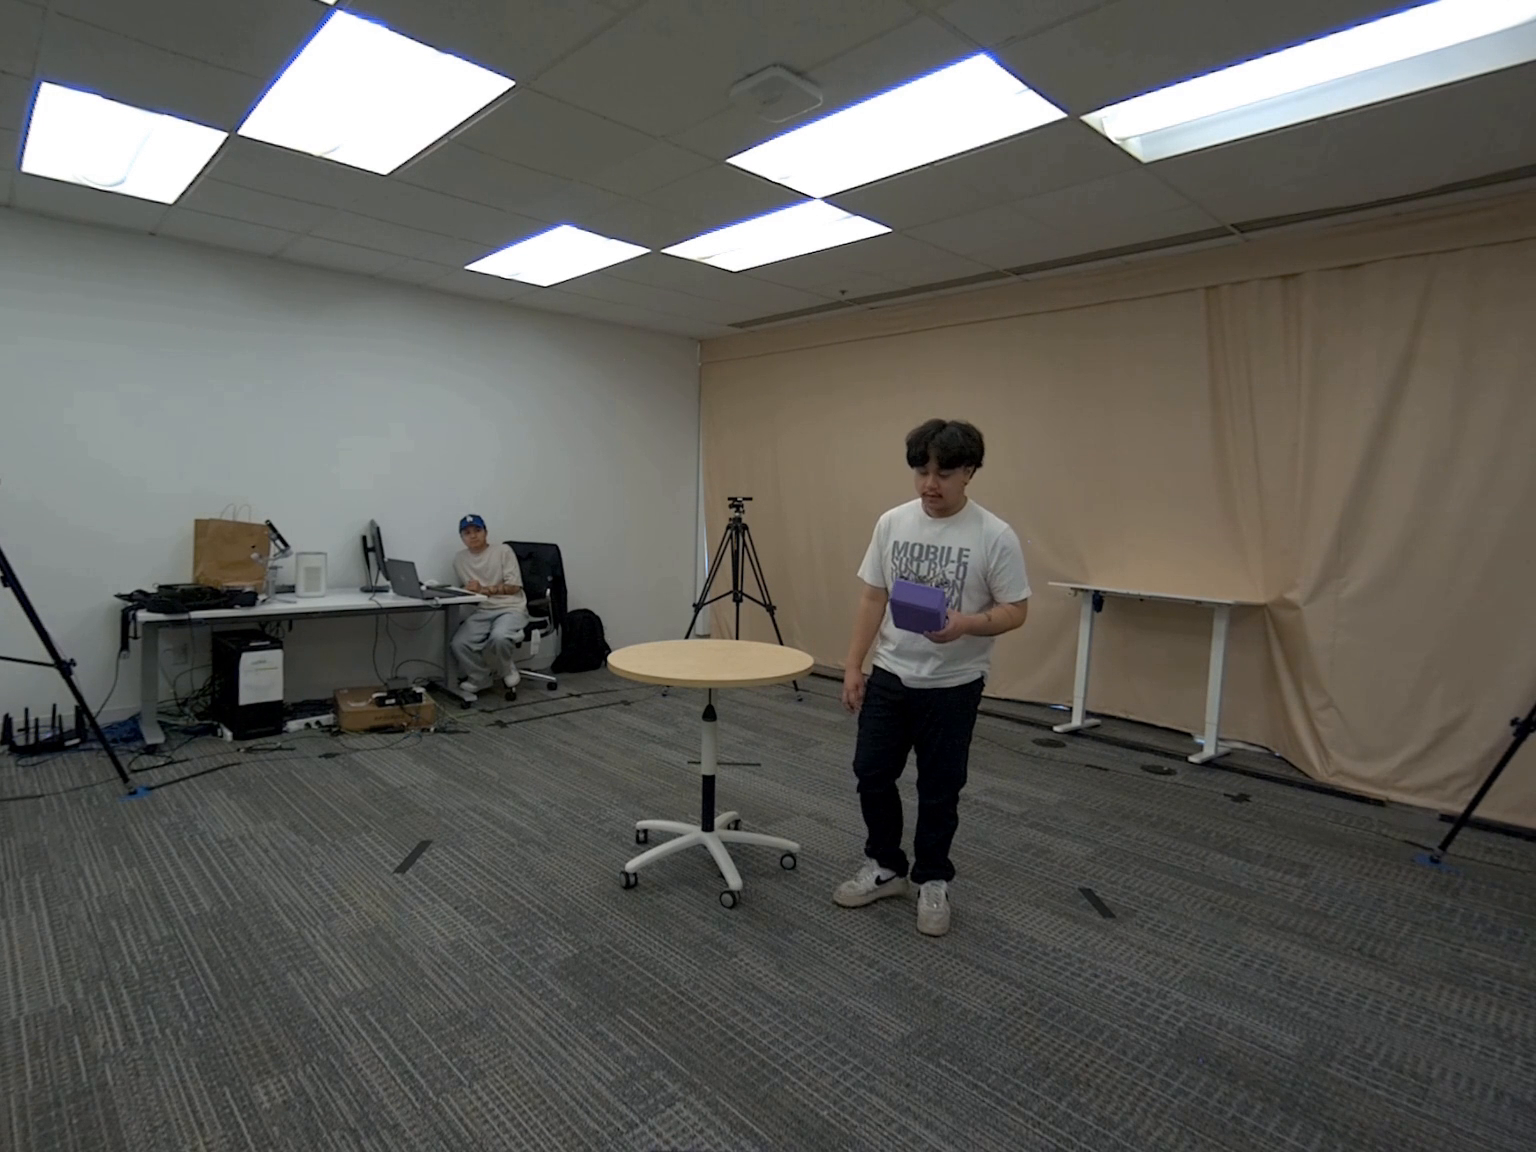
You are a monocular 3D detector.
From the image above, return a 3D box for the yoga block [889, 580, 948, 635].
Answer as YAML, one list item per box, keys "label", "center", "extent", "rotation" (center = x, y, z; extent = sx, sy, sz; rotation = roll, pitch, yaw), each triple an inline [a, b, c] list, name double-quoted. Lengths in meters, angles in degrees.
- label: "yoga block"
  center: [0.435, 0.099, 2.459]
  extent: [0.152, 0.077, 0.223]
  rotation: [15, -19, 19]
